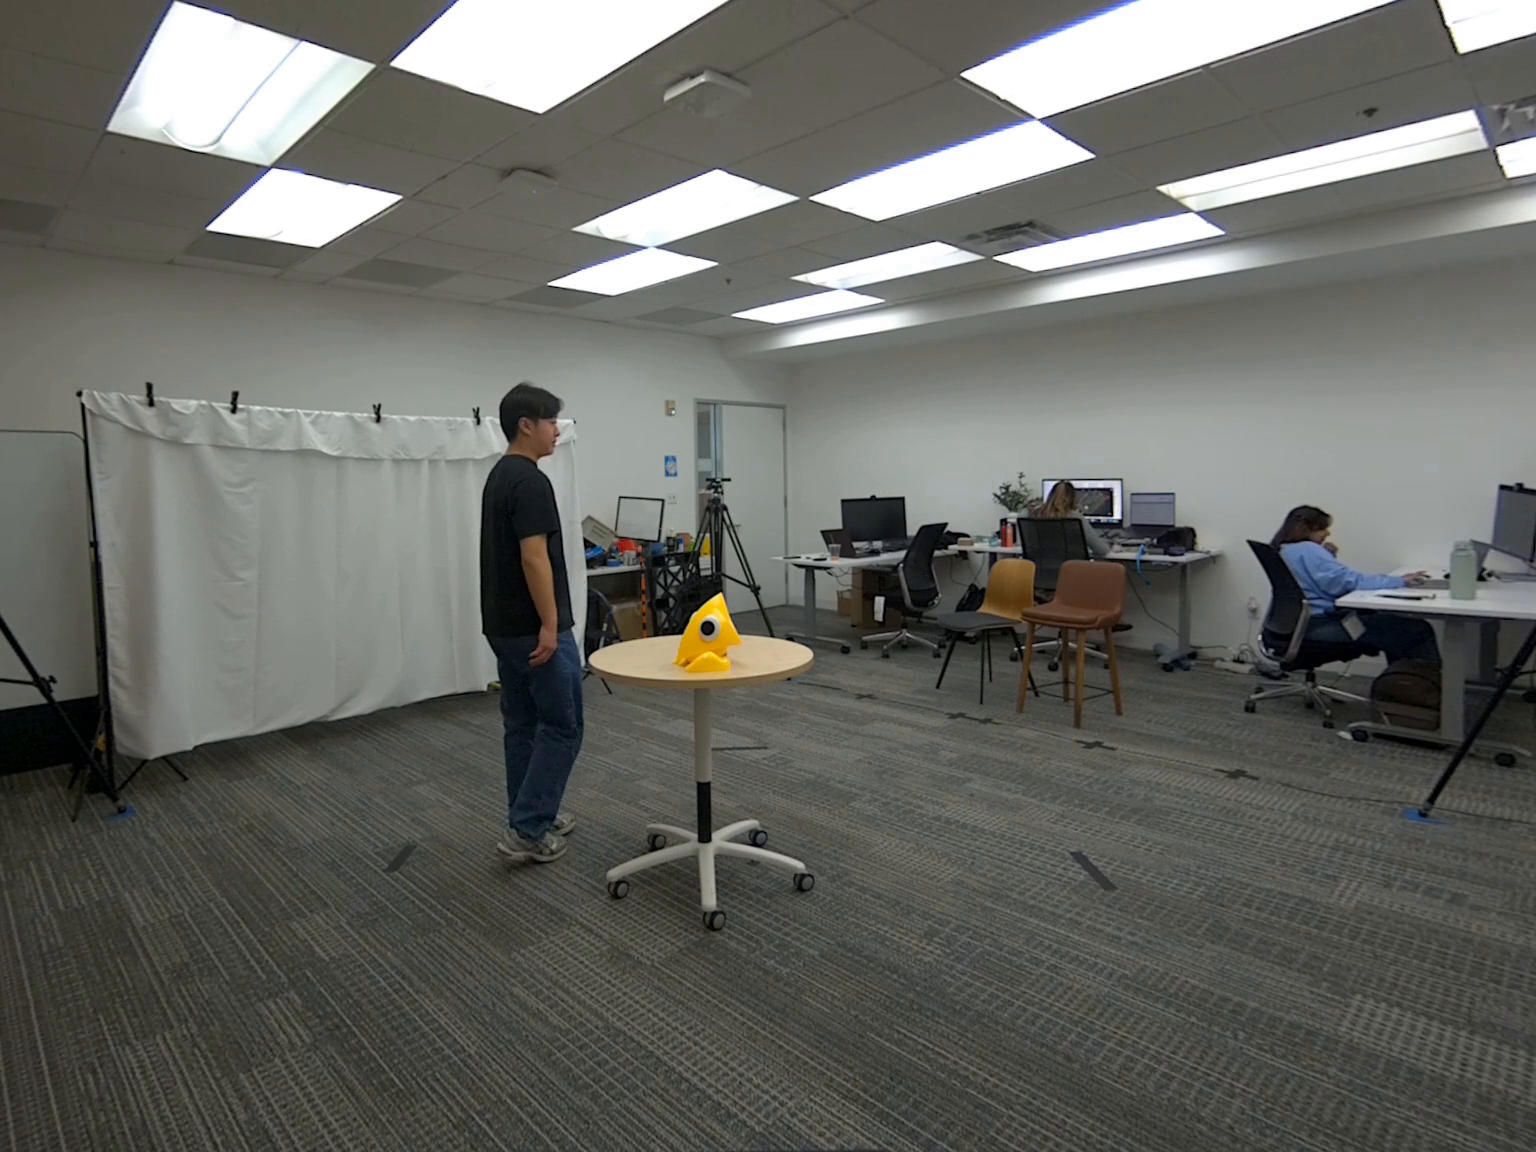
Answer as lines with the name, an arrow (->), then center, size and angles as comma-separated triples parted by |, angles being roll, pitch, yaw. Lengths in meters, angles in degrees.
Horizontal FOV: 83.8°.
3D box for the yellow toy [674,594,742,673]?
yellow toy -> -0.199, 0.173, 2.747 | 0.189, 0.230, 0.210 | -2, 5, -23
